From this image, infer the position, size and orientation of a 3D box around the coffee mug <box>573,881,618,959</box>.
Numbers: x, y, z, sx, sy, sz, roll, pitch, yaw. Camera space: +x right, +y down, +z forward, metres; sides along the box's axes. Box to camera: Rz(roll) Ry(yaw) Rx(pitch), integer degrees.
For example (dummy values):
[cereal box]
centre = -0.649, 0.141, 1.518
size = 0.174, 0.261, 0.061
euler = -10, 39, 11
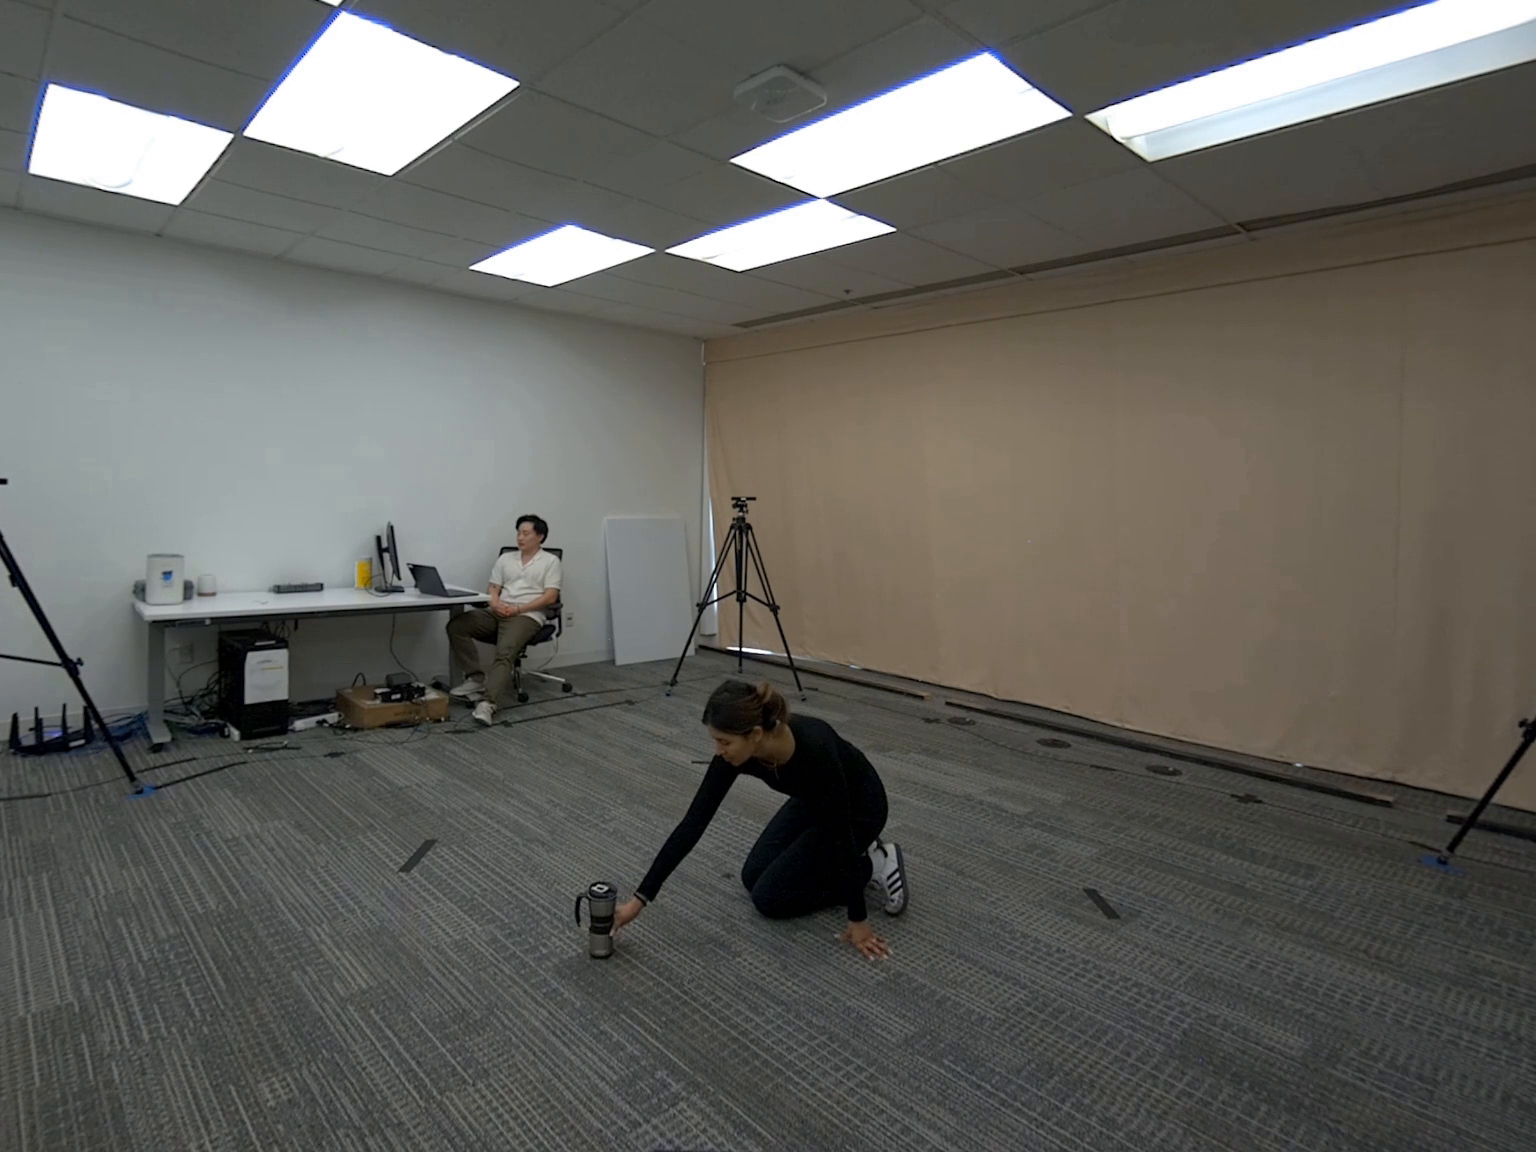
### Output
[coffee mug]
centre = -0.530, 1.051, 2.549
size = 0.124, 0.202, 0.086
euler = 3, 6, 25
